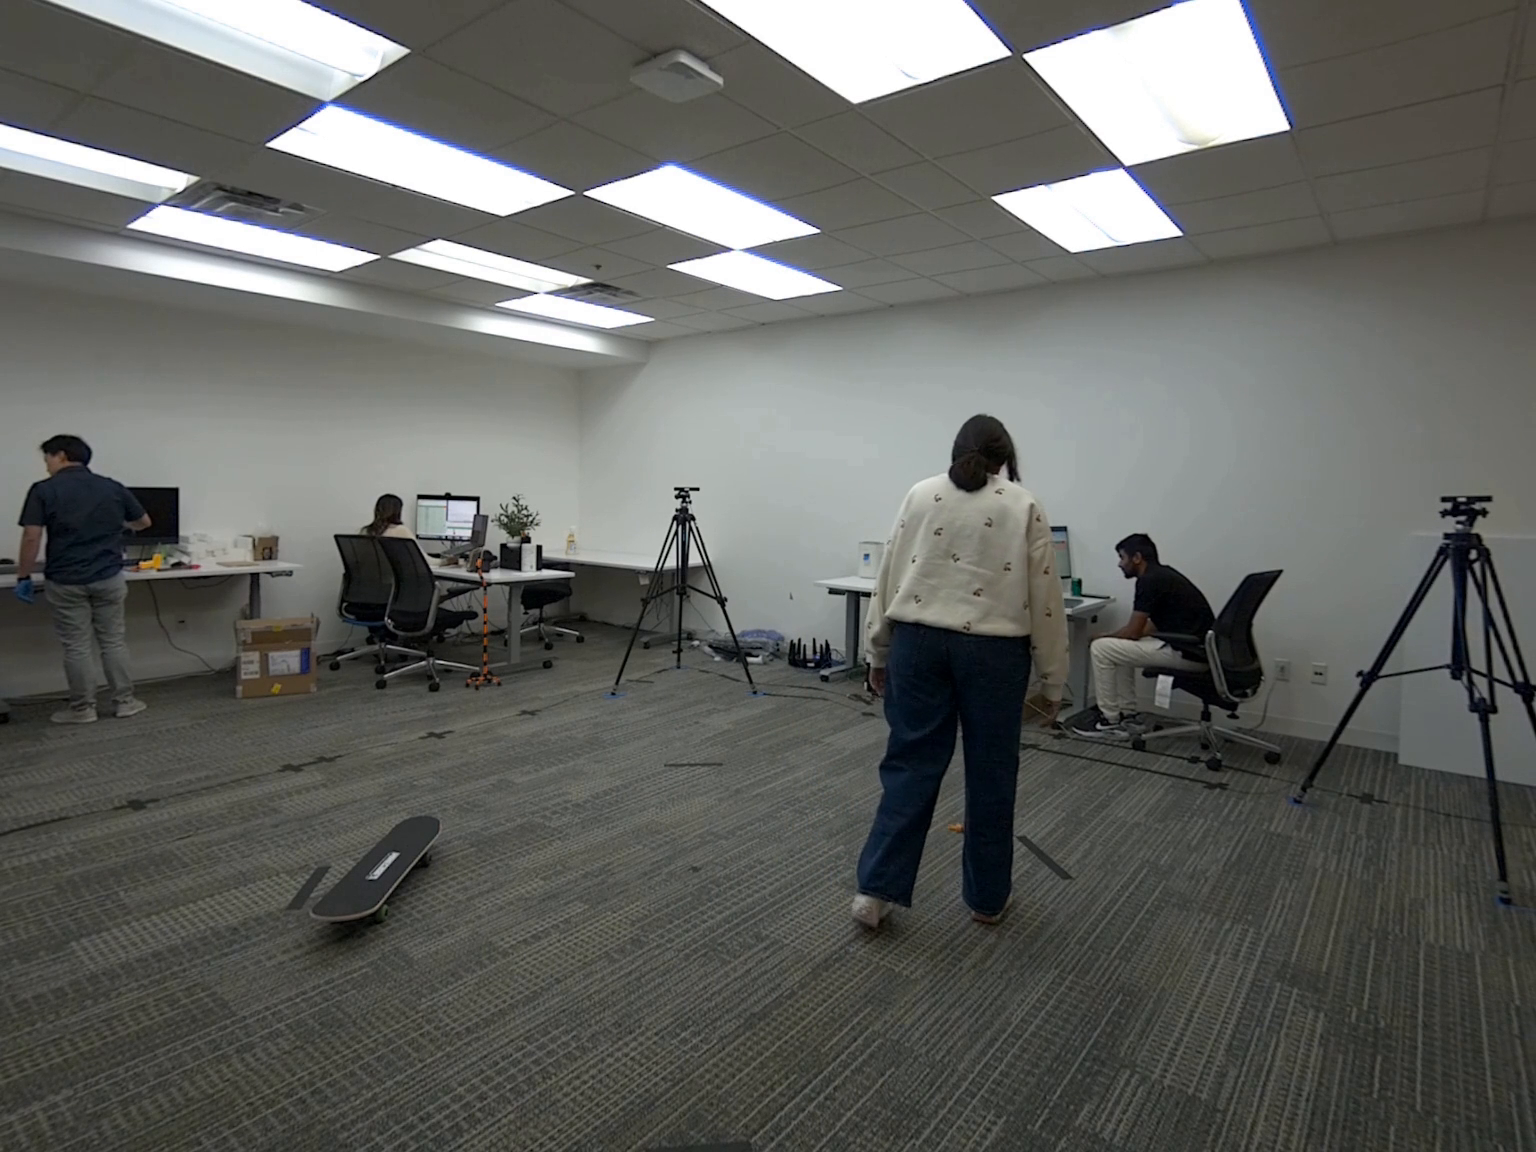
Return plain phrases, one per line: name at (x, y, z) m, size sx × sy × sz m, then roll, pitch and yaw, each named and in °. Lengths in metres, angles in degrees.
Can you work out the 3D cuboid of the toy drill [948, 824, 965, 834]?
toy drill at (0.758, 0.995, 3.224) m, size 0.173 × 0.145 × 0.060 m, roll 1°, pitch 3°, yaw 21°
